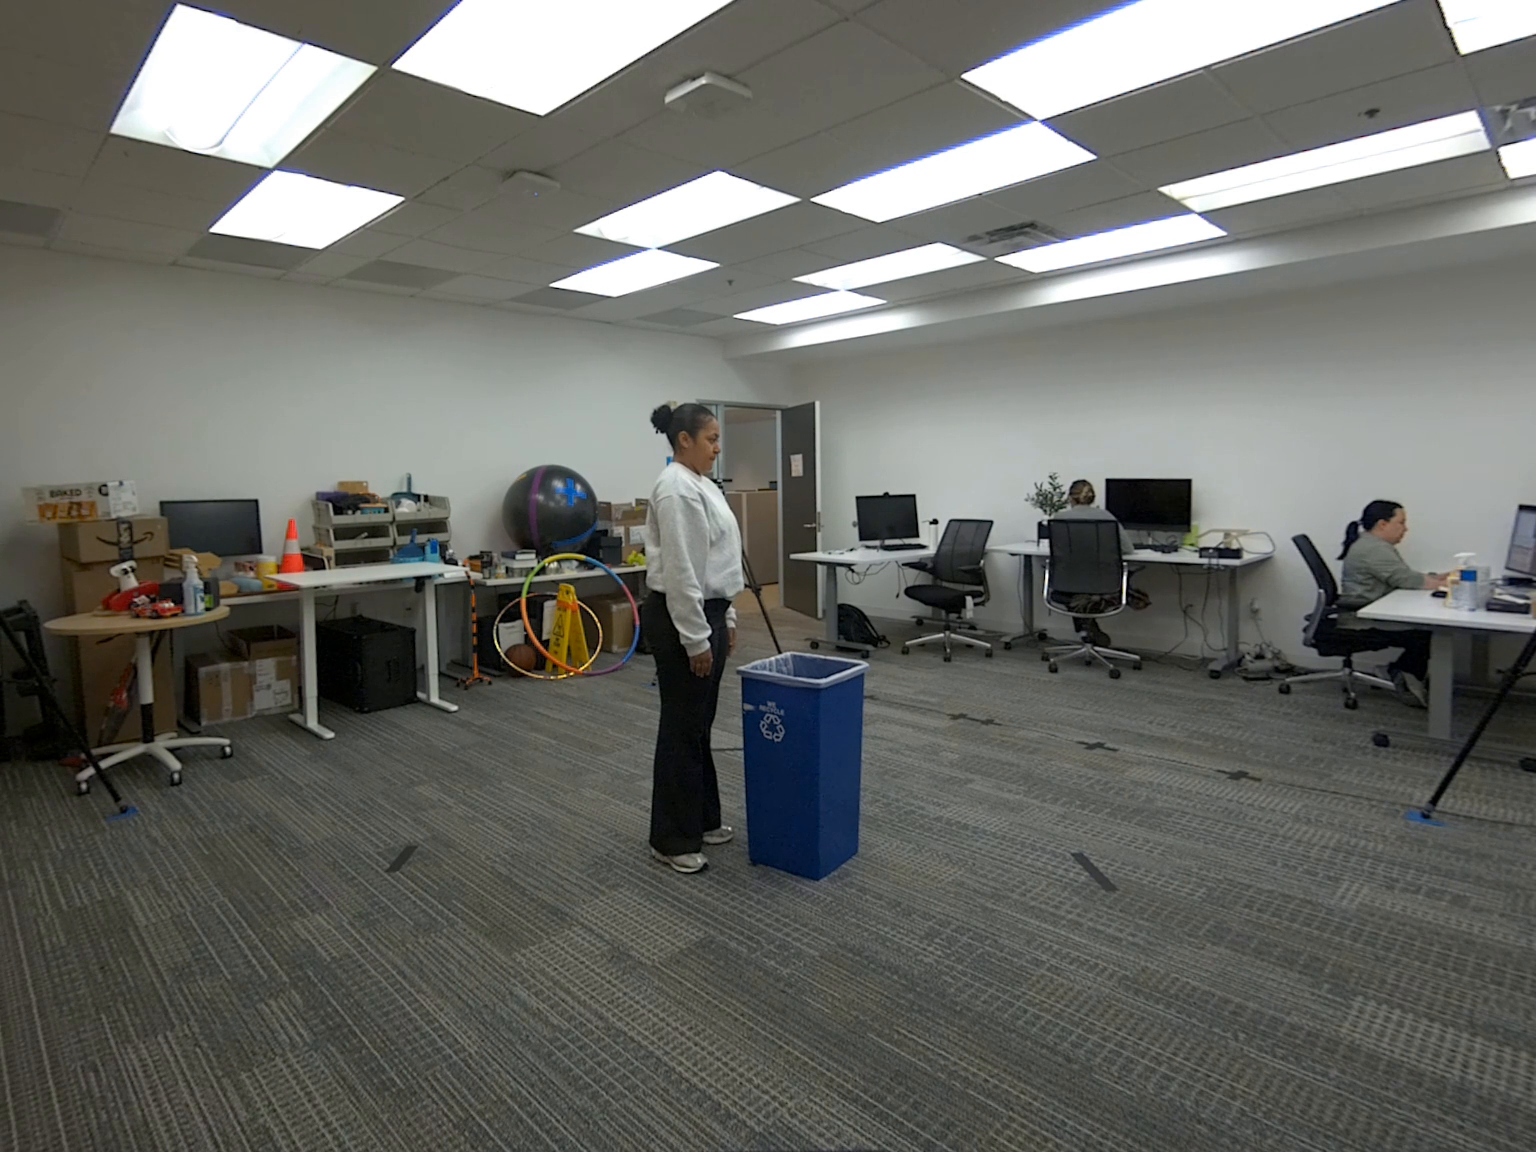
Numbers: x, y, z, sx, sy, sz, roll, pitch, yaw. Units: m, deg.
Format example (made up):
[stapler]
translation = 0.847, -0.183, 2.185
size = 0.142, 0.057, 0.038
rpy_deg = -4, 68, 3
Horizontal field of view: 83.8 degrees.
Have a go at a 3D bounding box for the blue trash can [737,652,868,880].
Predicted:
[blue trash can]
translation = 0.131, 0.679, 3.131
size = 0.389, 0.711, 0.365
rpy_deg = 2, 4, 34
